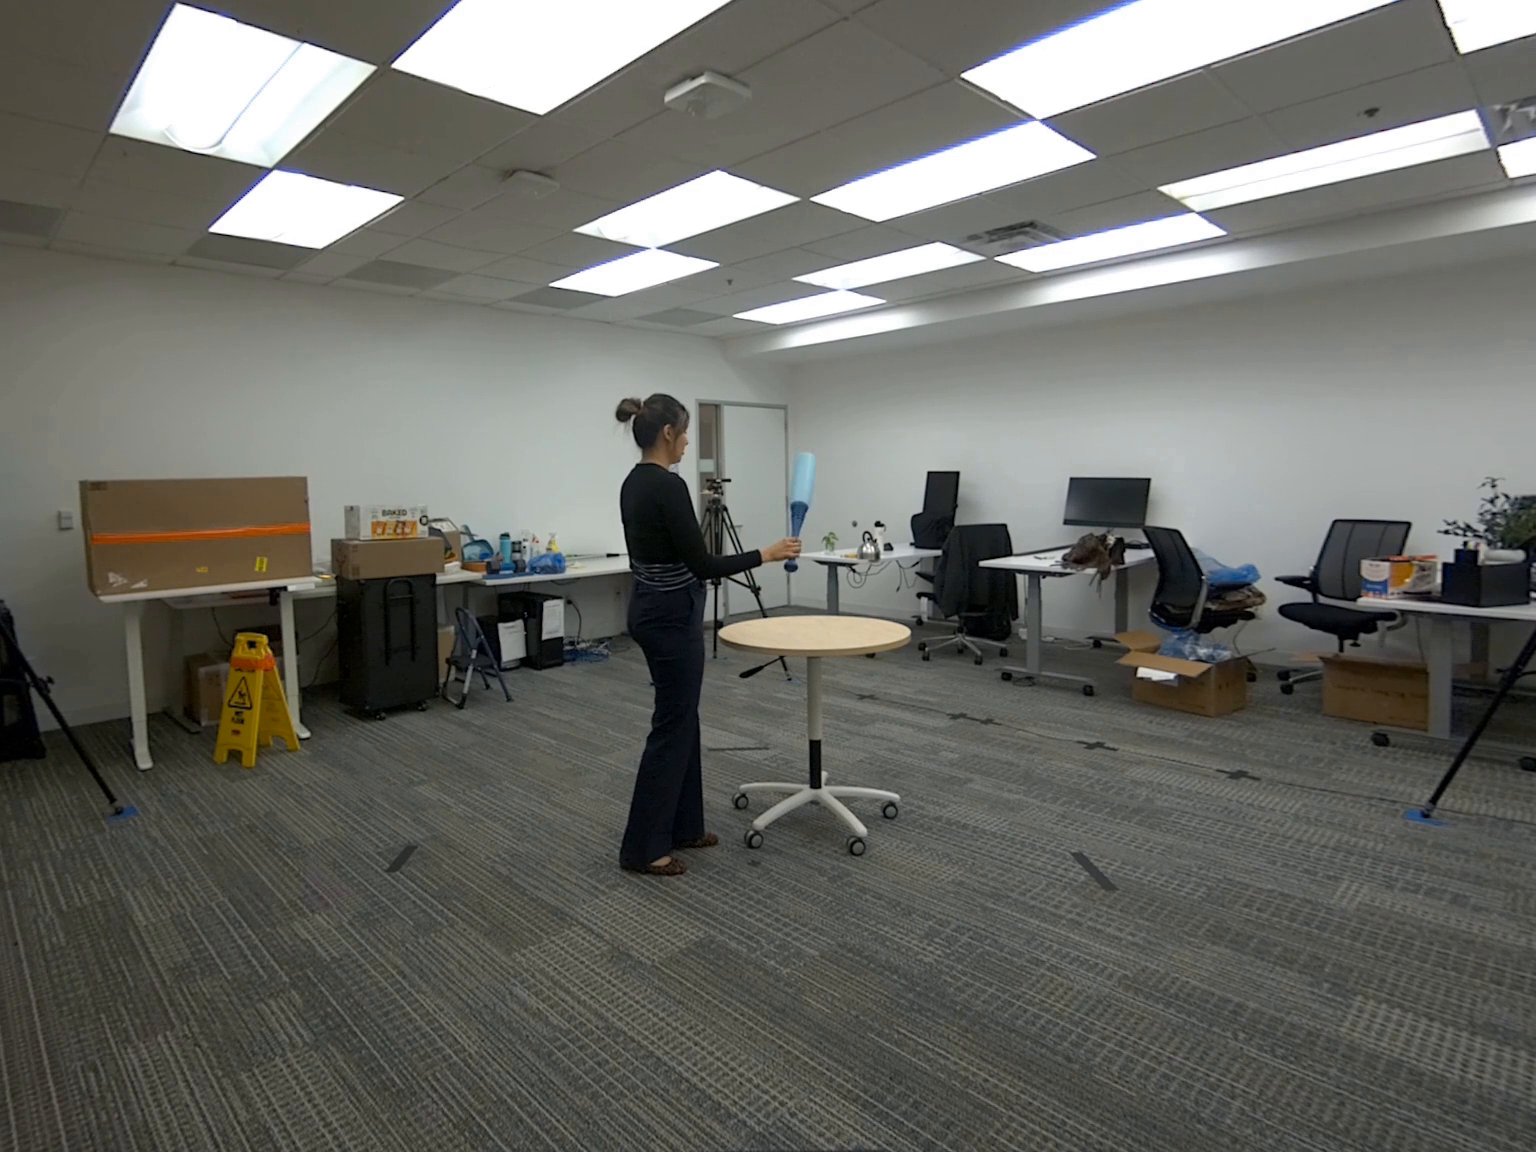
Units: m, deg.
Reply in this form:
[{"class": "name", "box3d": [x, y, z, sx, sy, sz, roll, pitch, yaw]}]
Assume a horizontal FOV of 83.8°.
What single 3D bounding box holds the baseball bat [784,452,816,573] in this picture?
[{"class": "baseball bat", "box3d": [0.115, -0.227, 3.154, 0.089, 0.554, 0.087, 7, -36, 3]}]
